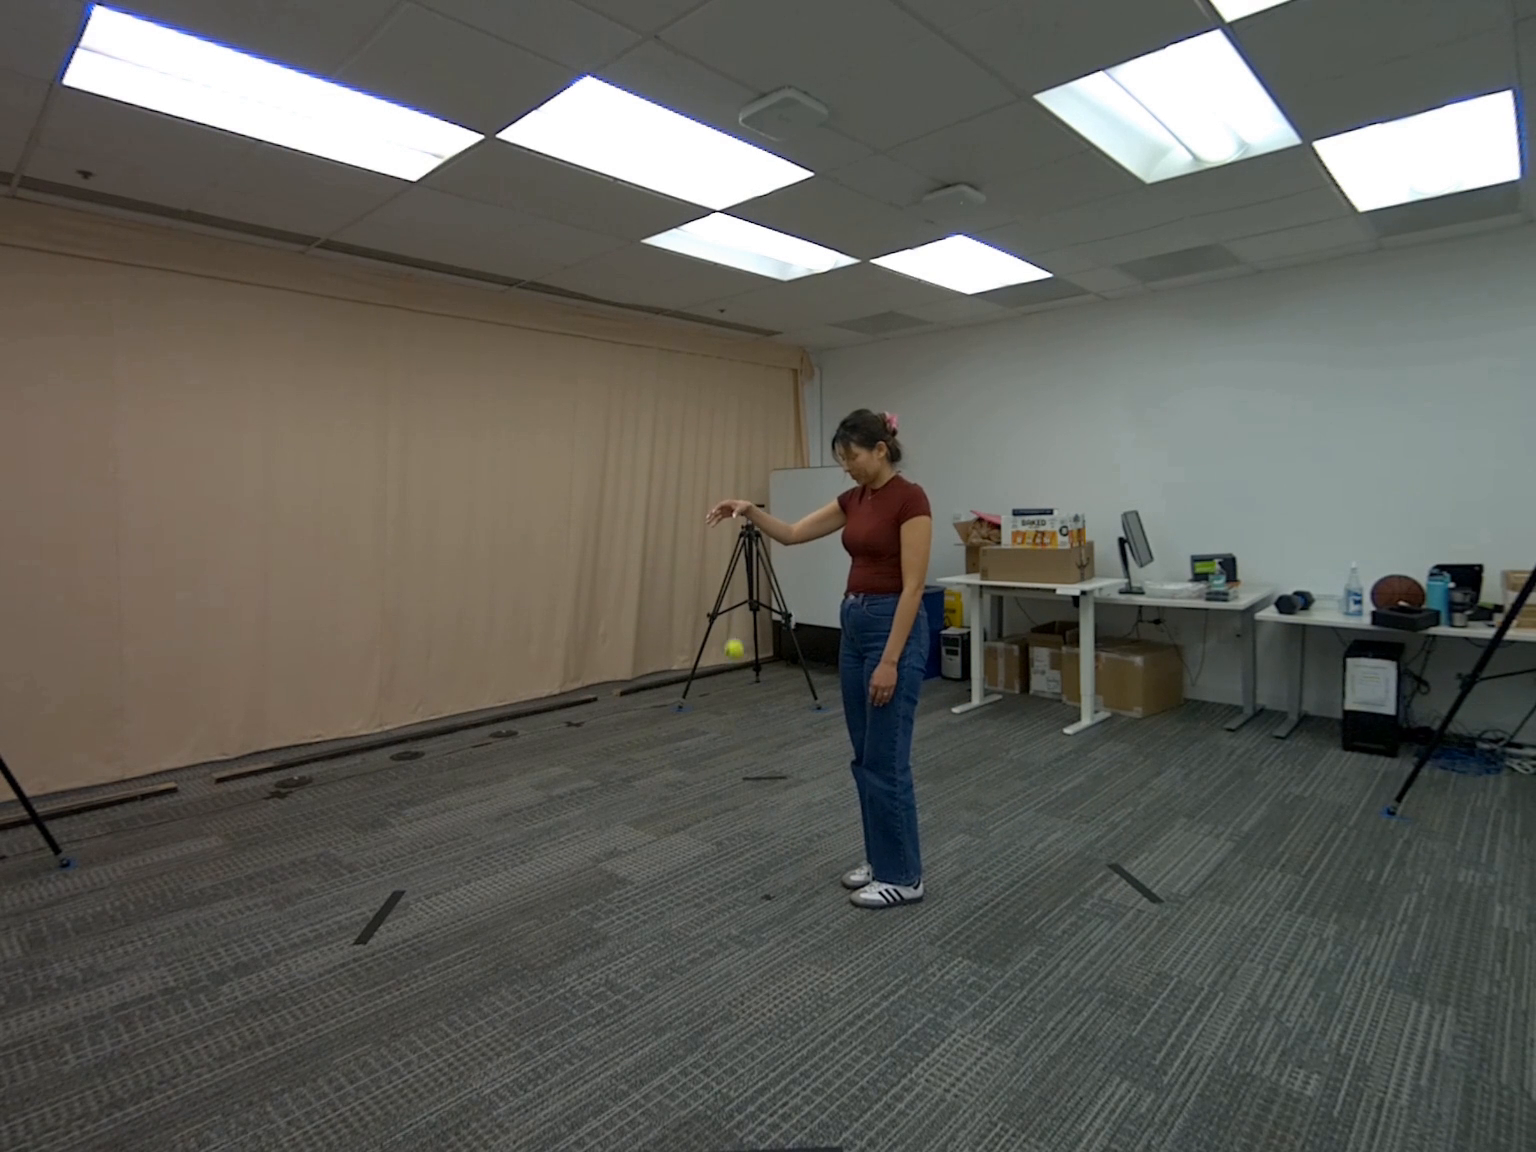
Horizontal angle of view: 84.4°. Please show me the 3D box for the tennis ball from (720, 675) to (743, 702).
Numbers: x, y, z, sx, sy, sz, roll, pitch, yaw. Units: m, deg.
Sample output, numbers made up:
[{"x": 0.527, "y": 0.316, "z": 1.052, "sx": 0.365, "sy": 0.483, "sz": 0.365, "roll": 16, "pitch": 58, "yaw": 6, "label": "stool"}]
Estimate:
[{"x": -0.115, "y": 0.345, "z": 2.611, "sx": 0.066, "sy": 0.066, "sz": 0.067, "roll": -1, "pitch": 4, "yaw": -2, "label": "tennis ball"}]
